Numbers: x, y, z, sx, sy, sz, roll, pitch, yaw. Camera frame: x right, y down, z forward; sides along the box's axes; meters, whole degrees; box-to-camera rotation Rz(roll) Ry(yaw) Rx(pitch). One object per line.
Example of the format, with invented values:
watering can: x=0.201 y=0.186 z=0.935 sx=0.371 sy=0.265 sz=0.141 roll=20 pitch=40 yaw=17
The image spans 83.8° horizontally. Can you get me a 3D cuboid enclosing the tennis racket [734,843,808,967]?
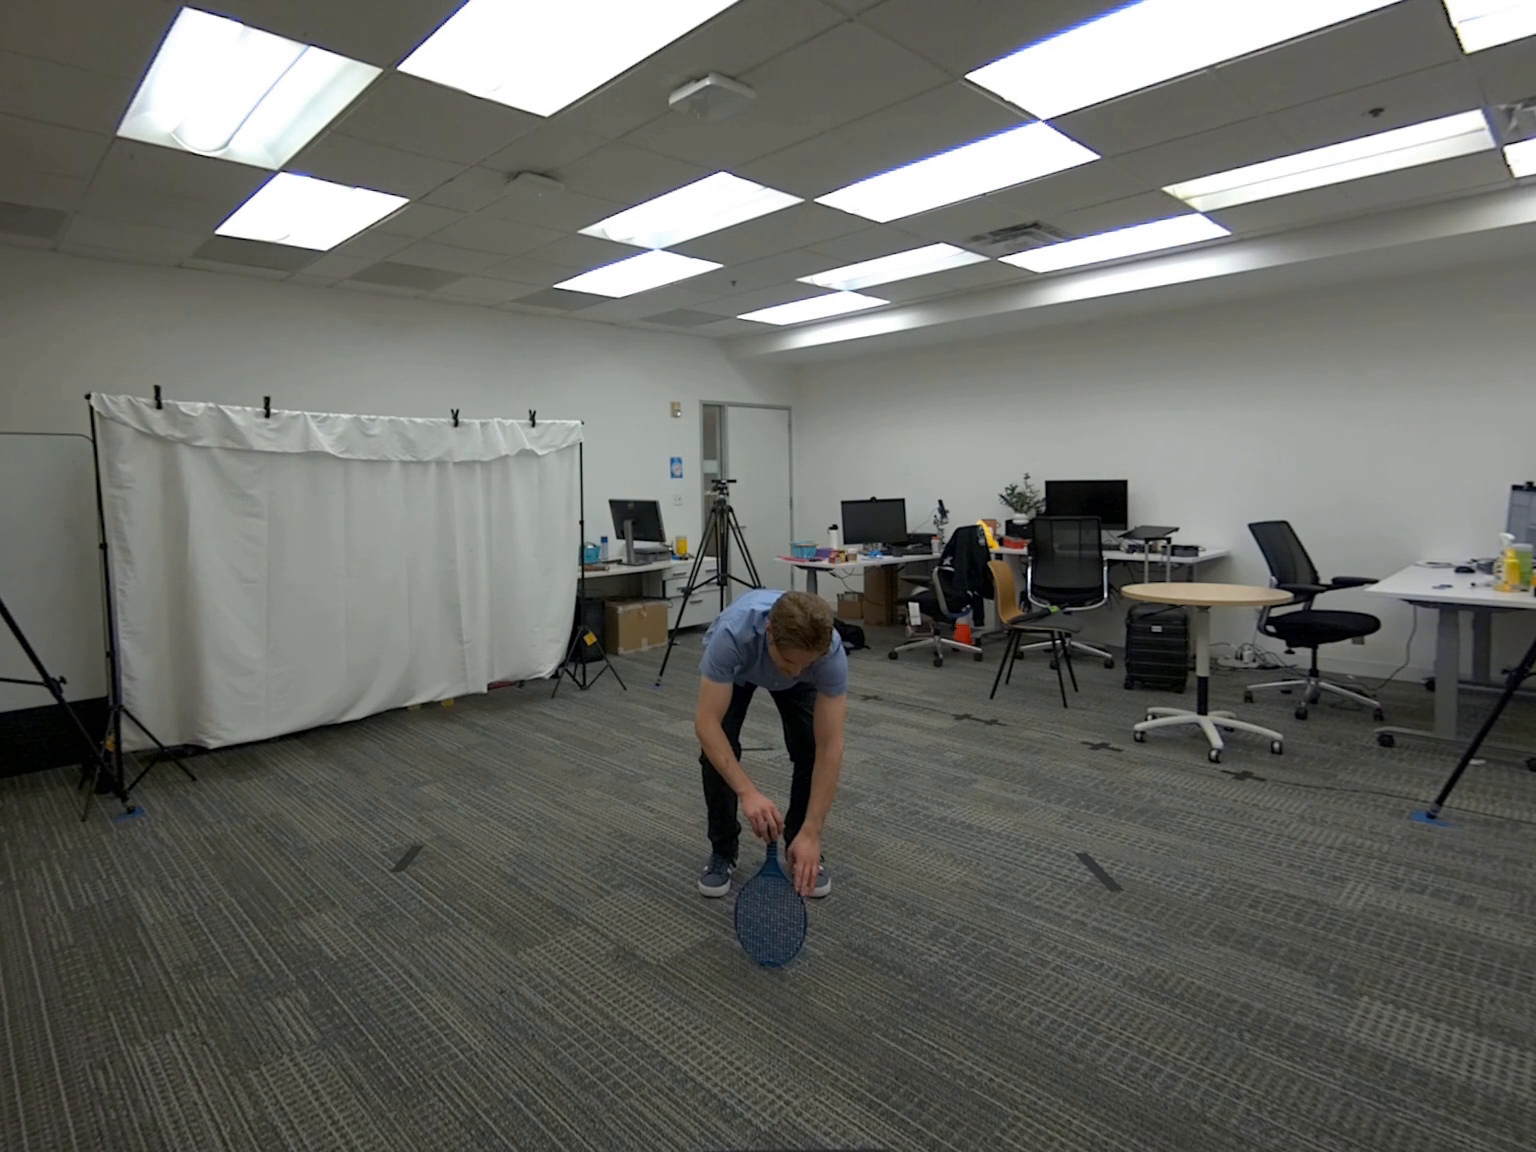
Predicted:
tennis racket: x=0.008 y=0.907 z=2.465 sx=0.216 sy=0.432 sz=0.031 roll=0 pitch=1 yaw=10
